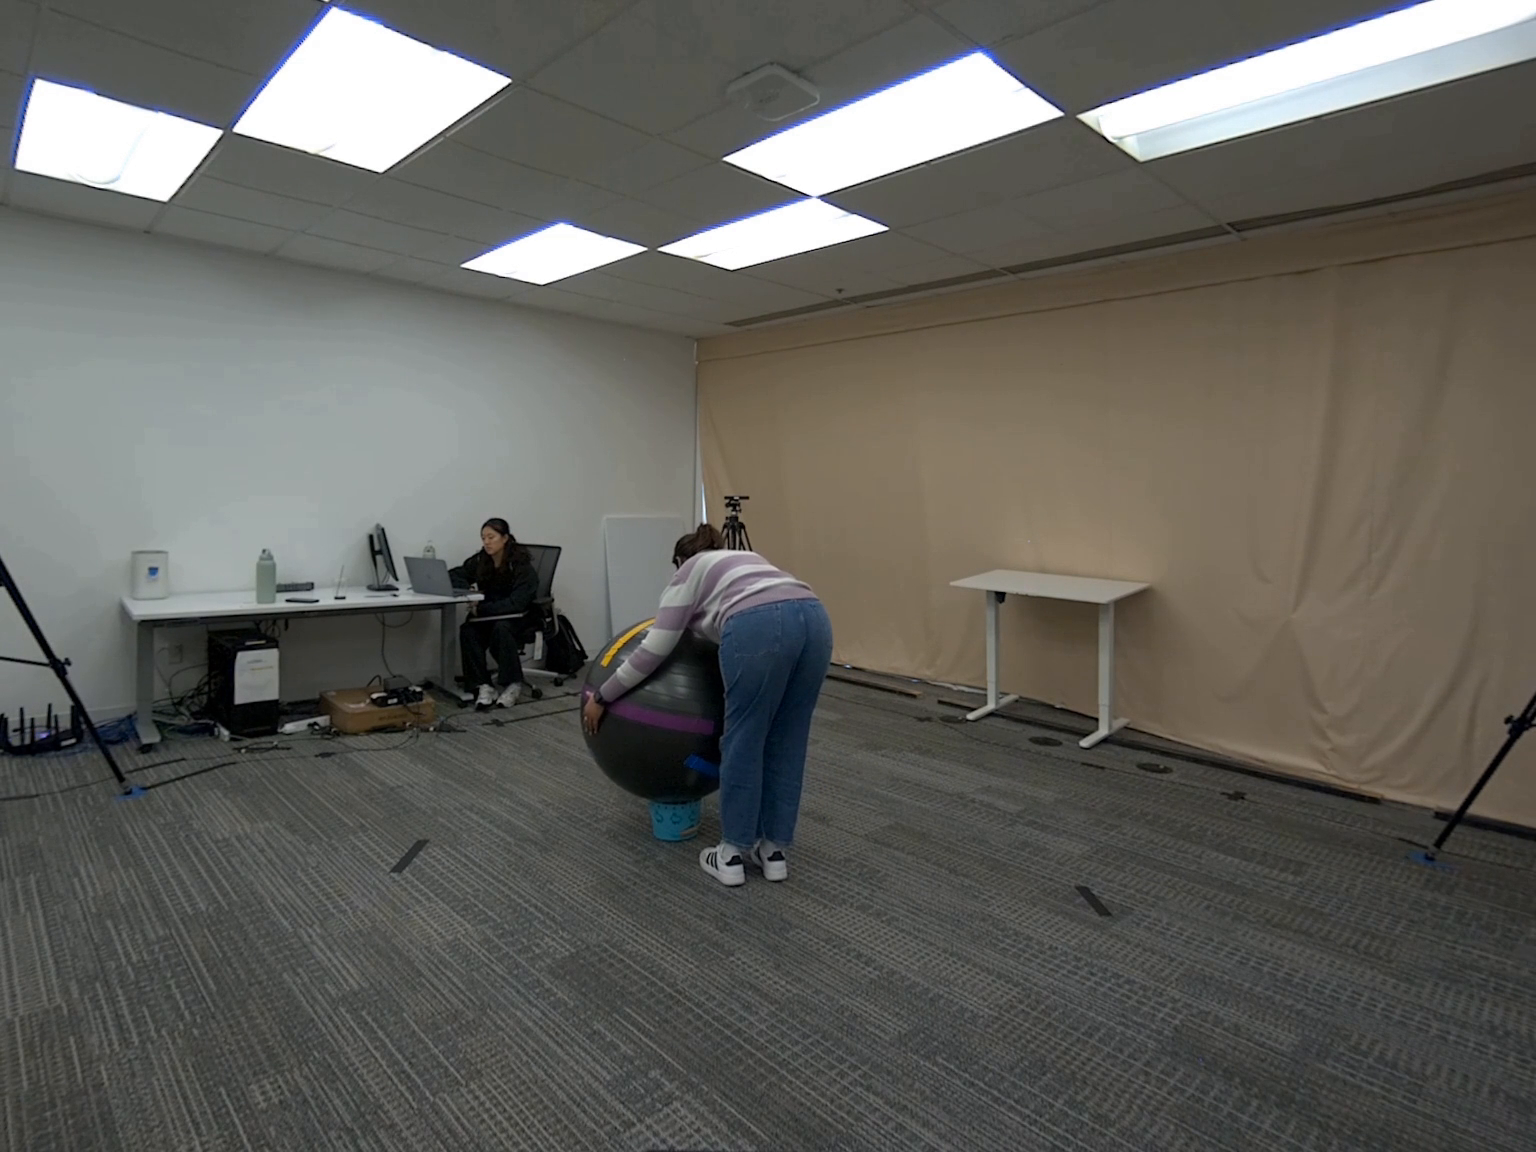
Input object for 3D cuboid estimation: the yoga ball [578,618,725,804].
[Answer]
[{"bbox_3d":[-0.403,0.542,3.494,0.757,0.756,0.761,1,4,-1],"label":"yoga ball"}]
